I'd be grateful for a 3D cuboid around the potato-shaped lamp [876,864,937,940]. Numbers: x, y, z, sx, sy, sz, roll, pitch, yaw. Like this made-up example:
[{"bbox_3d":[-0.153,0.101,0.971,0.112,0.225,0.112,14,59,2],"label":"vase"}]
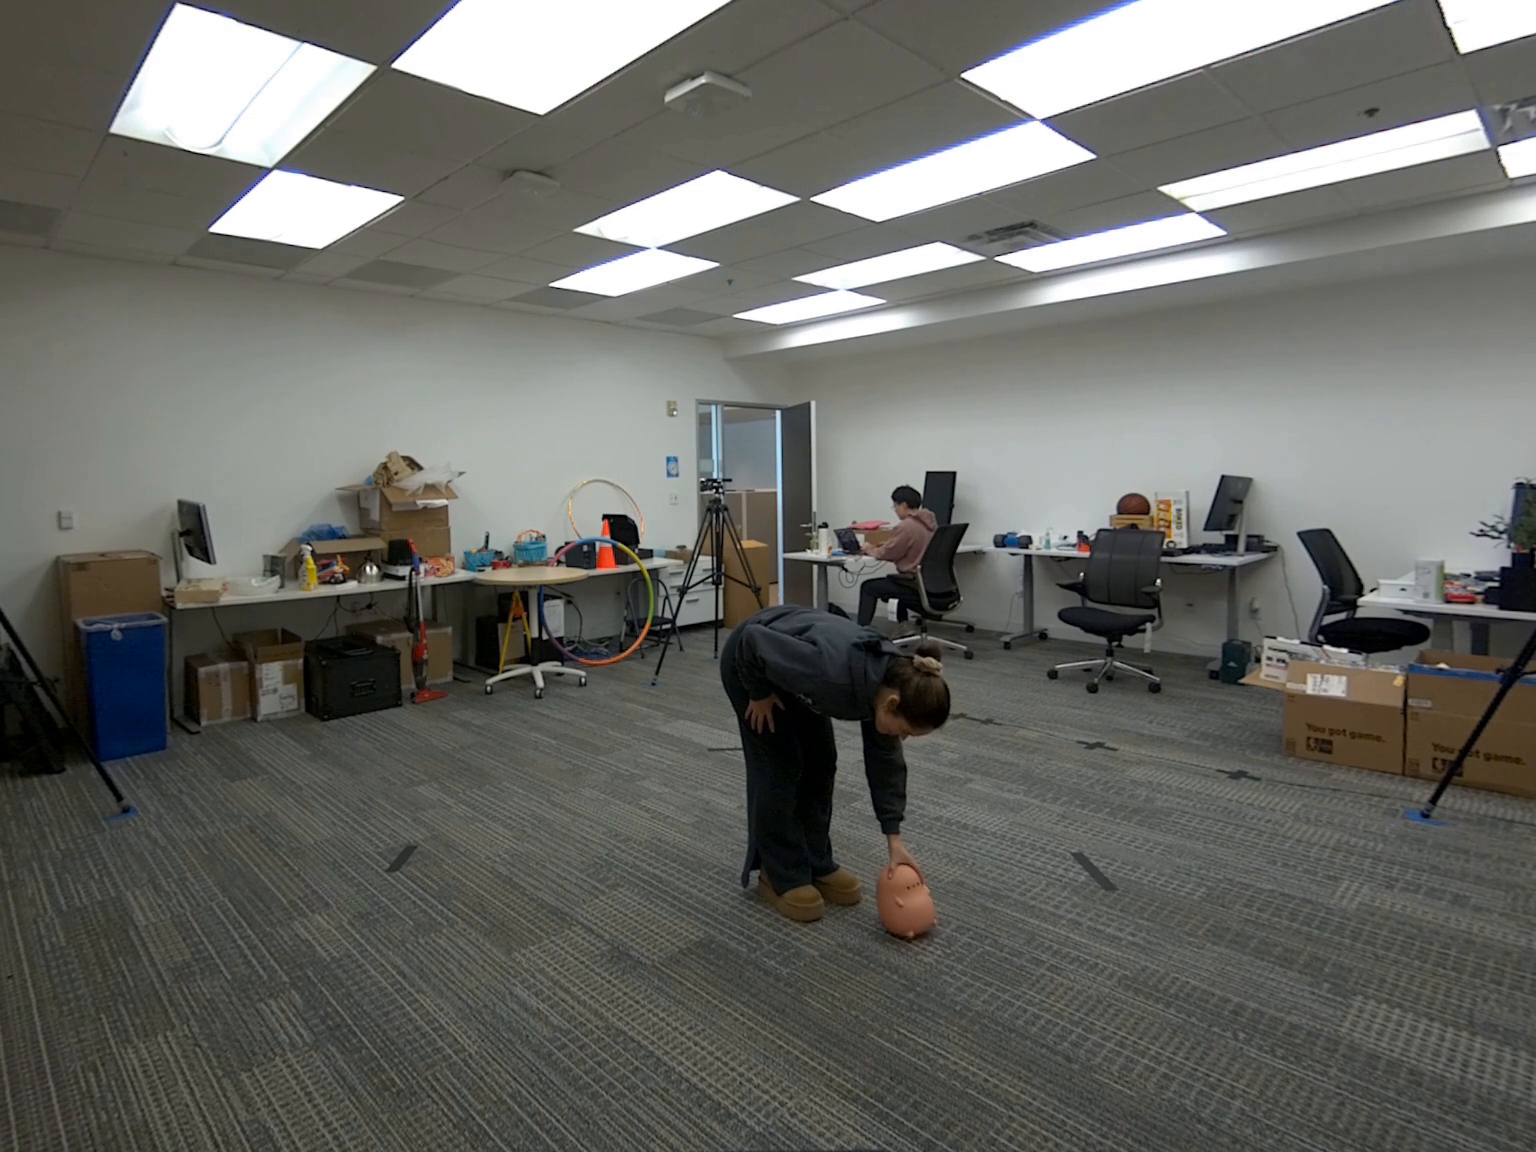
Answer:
[{"bbox_3d":[0.418,0.988,2.628,0.161,0.199,0.174,-9,-6,-27],"label":"potato-shaped lamp"}]
